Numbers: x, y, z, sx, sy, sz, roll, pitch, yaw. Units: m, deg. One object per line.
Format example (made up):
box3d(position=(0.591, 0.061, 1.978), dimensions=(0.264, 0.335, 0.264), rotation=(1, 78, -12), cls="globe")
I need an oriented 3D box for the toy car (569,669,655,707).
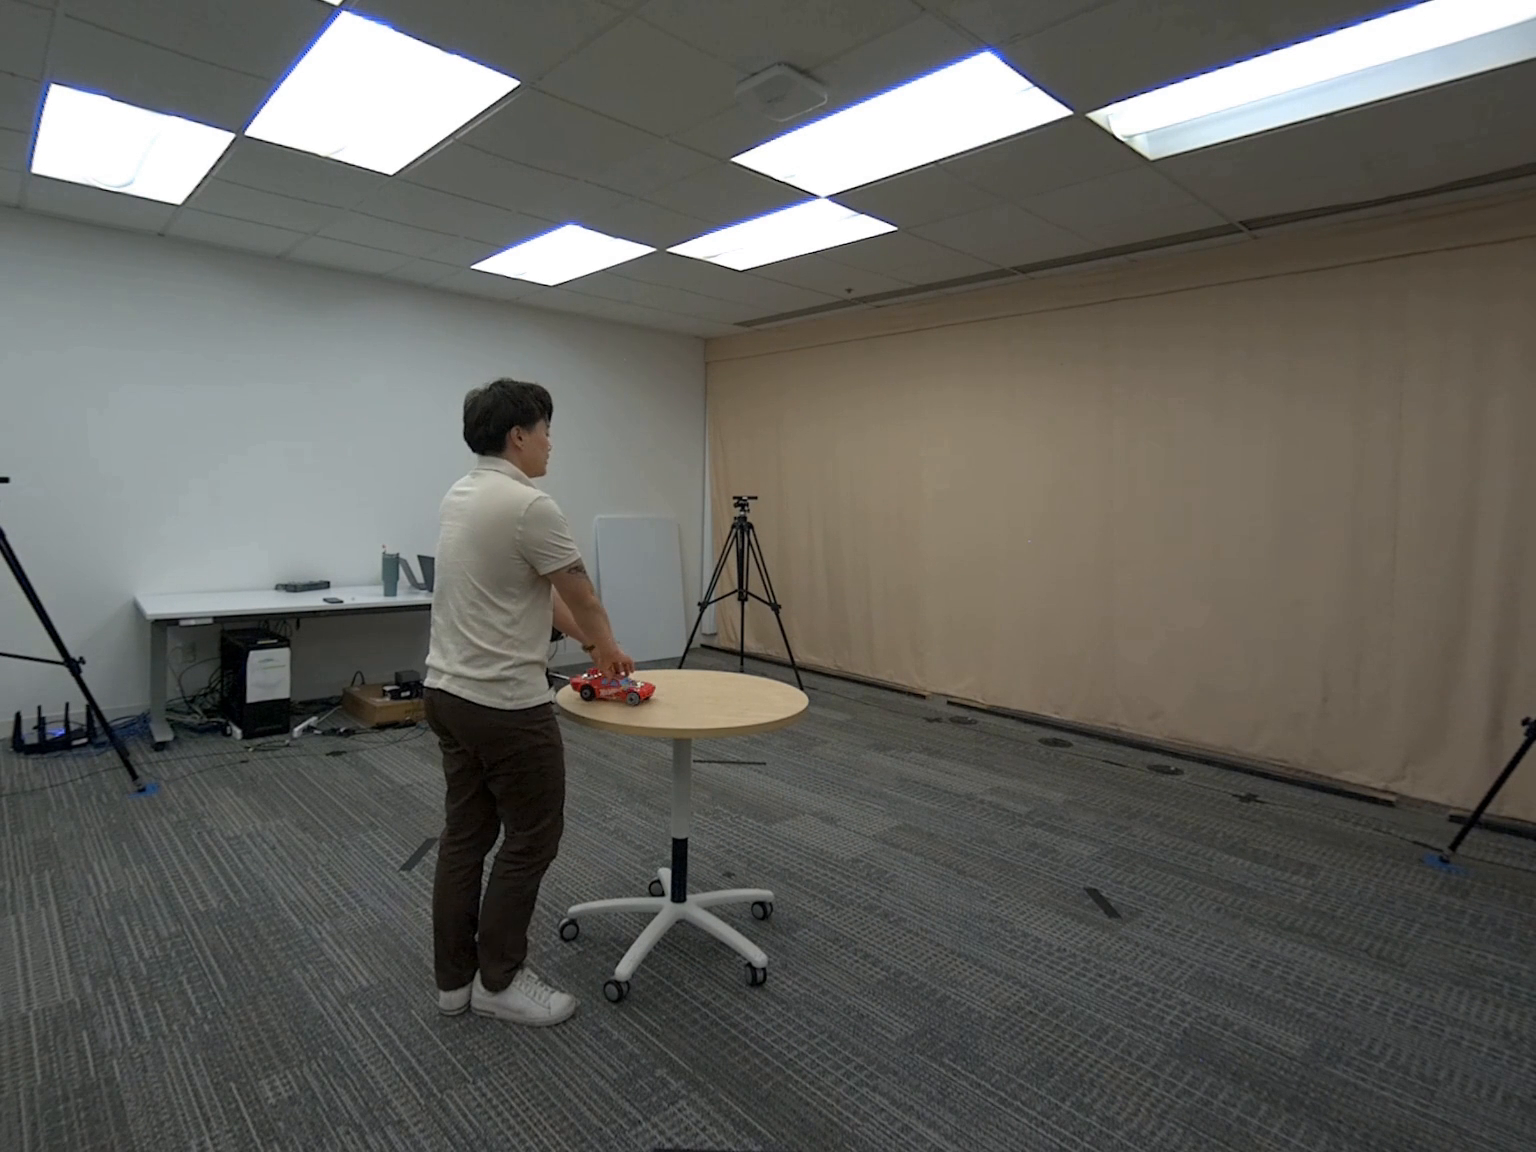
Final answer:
box3d(position=(-0.473, 0.338, 2.490), dimensions=(0.257, 0.083, 0.129), rotation=(13, 7, 10), cls="toy car")
